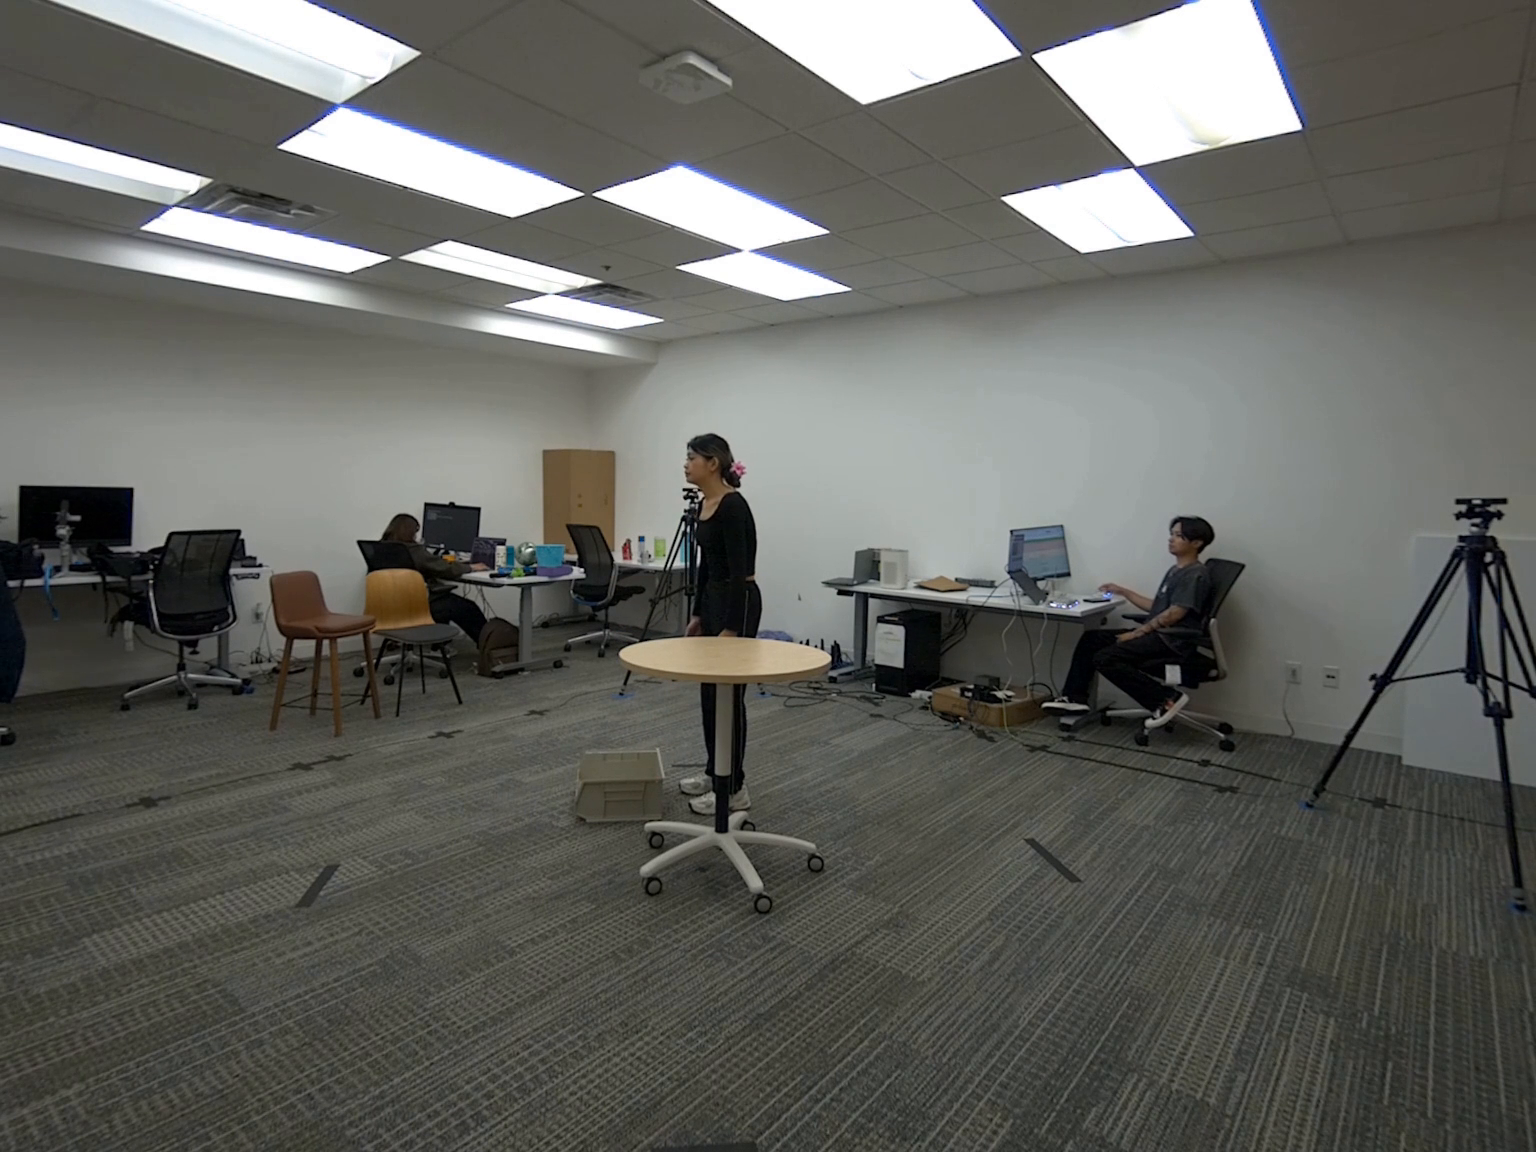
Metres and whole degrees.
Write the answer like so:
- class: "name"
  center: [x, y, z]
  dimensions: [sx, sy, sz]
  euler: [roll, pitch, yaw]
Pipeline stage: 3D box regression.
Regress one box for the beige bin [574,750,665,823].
- class: "beige bin"
  center: [-0.671, 0.912, 3.748]
  dimensions: [0.374, 0.188, 0.428]
  euler: [1, 4, -10]
